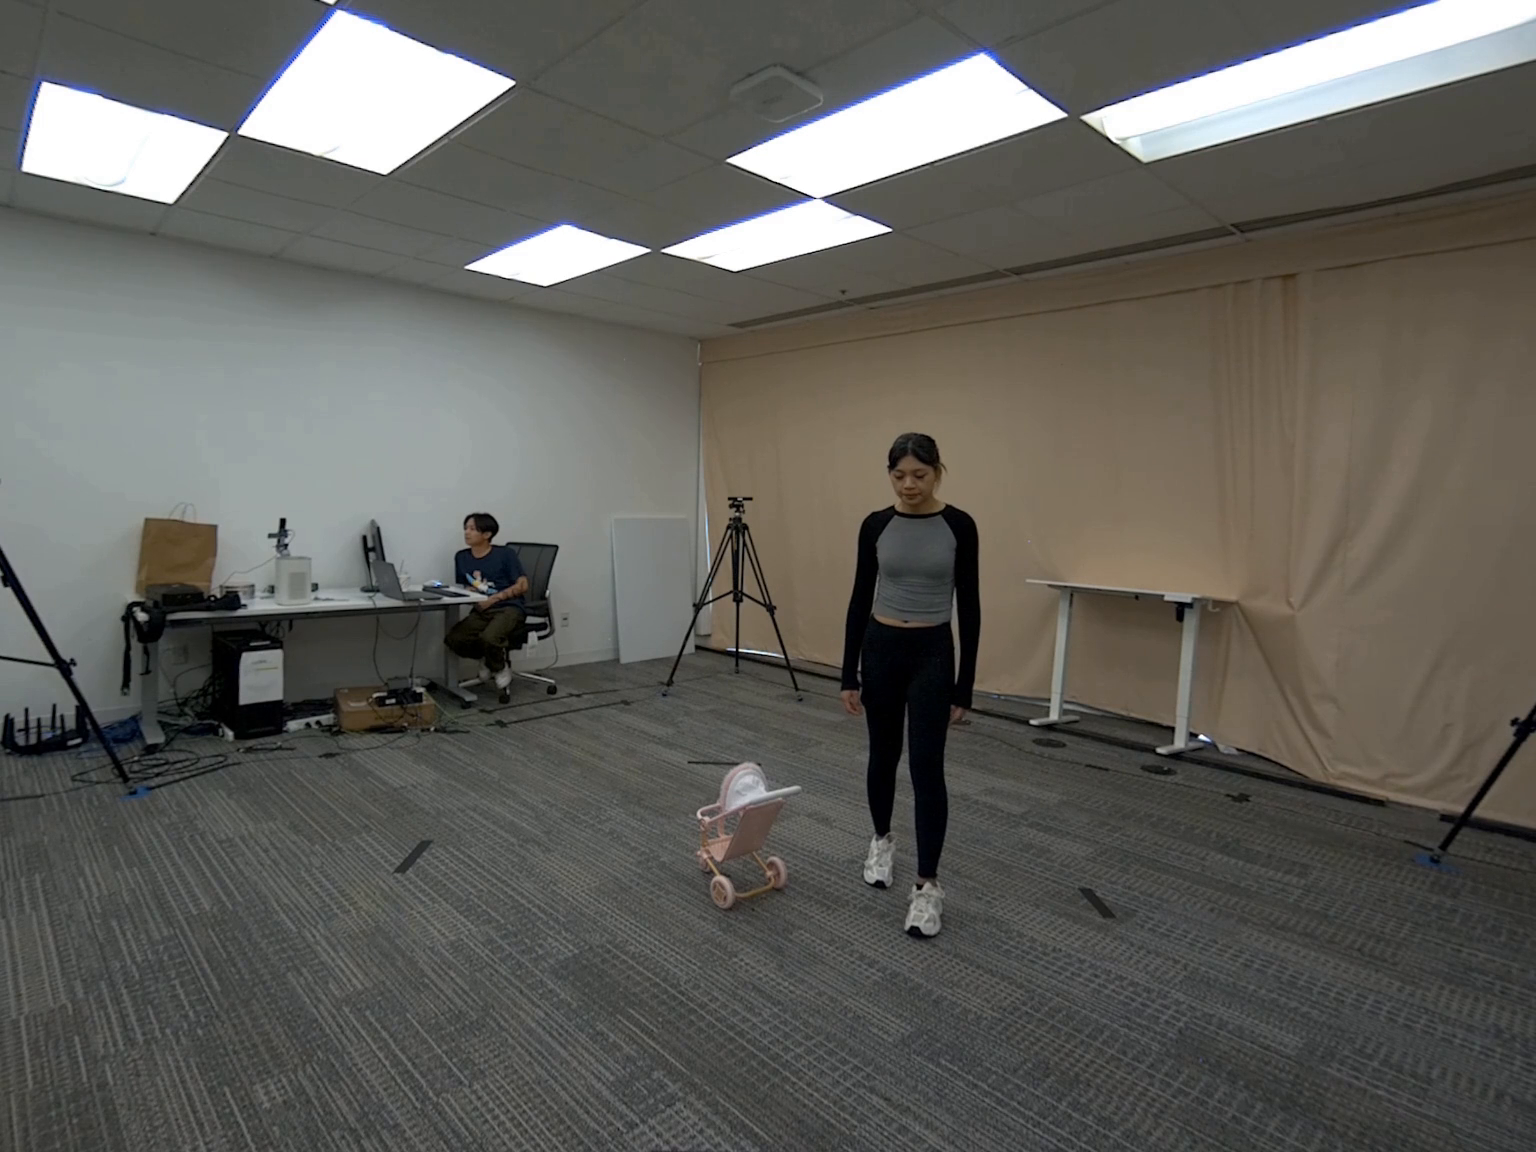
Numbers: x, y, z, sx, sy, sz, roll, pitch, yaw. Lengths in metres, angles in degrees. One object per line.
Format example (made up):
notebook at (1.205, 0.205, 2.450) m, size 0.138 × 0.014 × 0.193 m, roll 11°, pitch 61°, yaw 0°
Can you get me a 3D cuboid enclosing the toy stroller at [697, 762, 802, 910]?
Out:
toy stroller at (-0.102, 0.893, 2.980) m, size 0.275 × 0.530 × 0.352 m, roll -1°, pitch 21°, yaw -35°
